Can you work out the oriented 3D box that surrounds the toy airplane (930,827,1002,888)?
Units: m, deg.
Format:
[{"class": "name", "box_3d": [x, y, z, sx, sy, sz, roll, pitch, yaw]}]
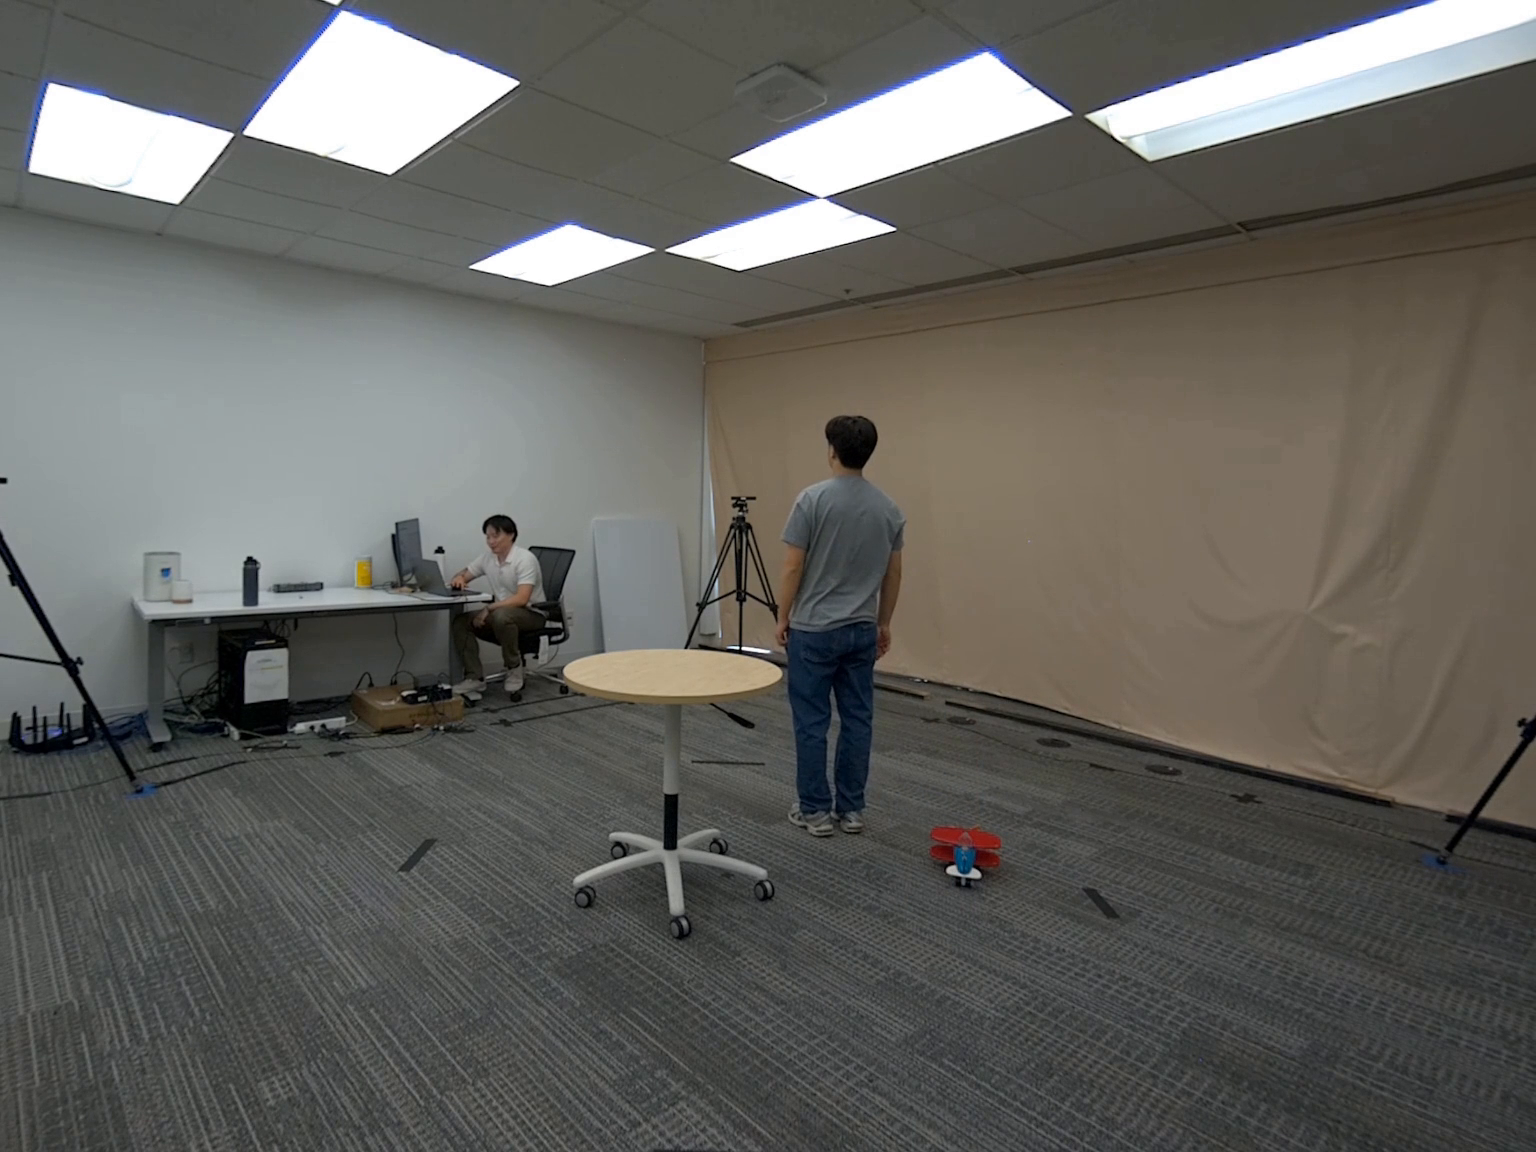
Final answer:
[{"class": "toy airplane", "box_3d": [0.750, 1.053, 3.149, 0.248, 0.156, 0.262, 1, 4, -13]}]
